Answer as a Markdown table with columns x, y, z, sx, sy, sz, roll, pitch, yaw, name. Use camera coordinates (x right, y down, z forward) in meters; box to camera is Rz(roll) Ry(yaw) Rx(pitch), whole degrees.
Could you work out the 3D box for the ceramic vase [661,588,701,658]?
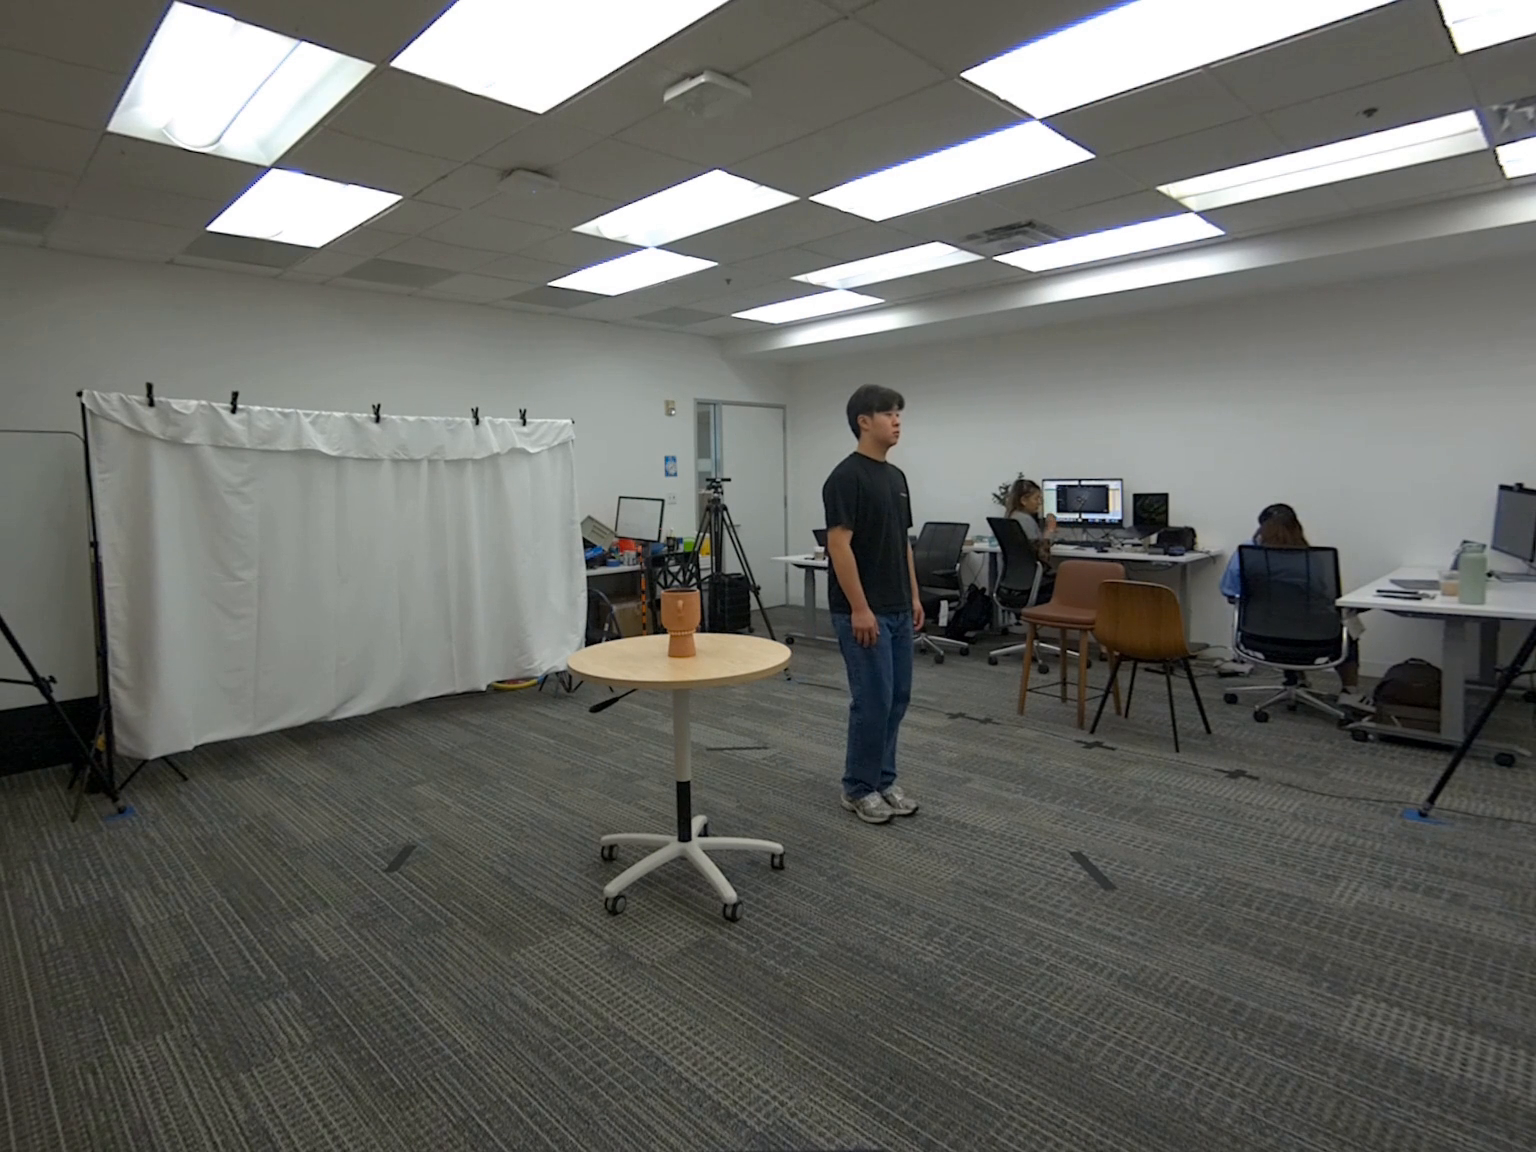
| x | y | z | sx | sy | sz | roll | pitch | yaw | name |
| --- | --- | --- | --- | --- | --- | --- | --- | --- | --- |
| -0.292 | 0.161 | 2.917 | 0.138 | 0.219 | 0.155 | 2 | 6 | 37 | ceramic vase |
